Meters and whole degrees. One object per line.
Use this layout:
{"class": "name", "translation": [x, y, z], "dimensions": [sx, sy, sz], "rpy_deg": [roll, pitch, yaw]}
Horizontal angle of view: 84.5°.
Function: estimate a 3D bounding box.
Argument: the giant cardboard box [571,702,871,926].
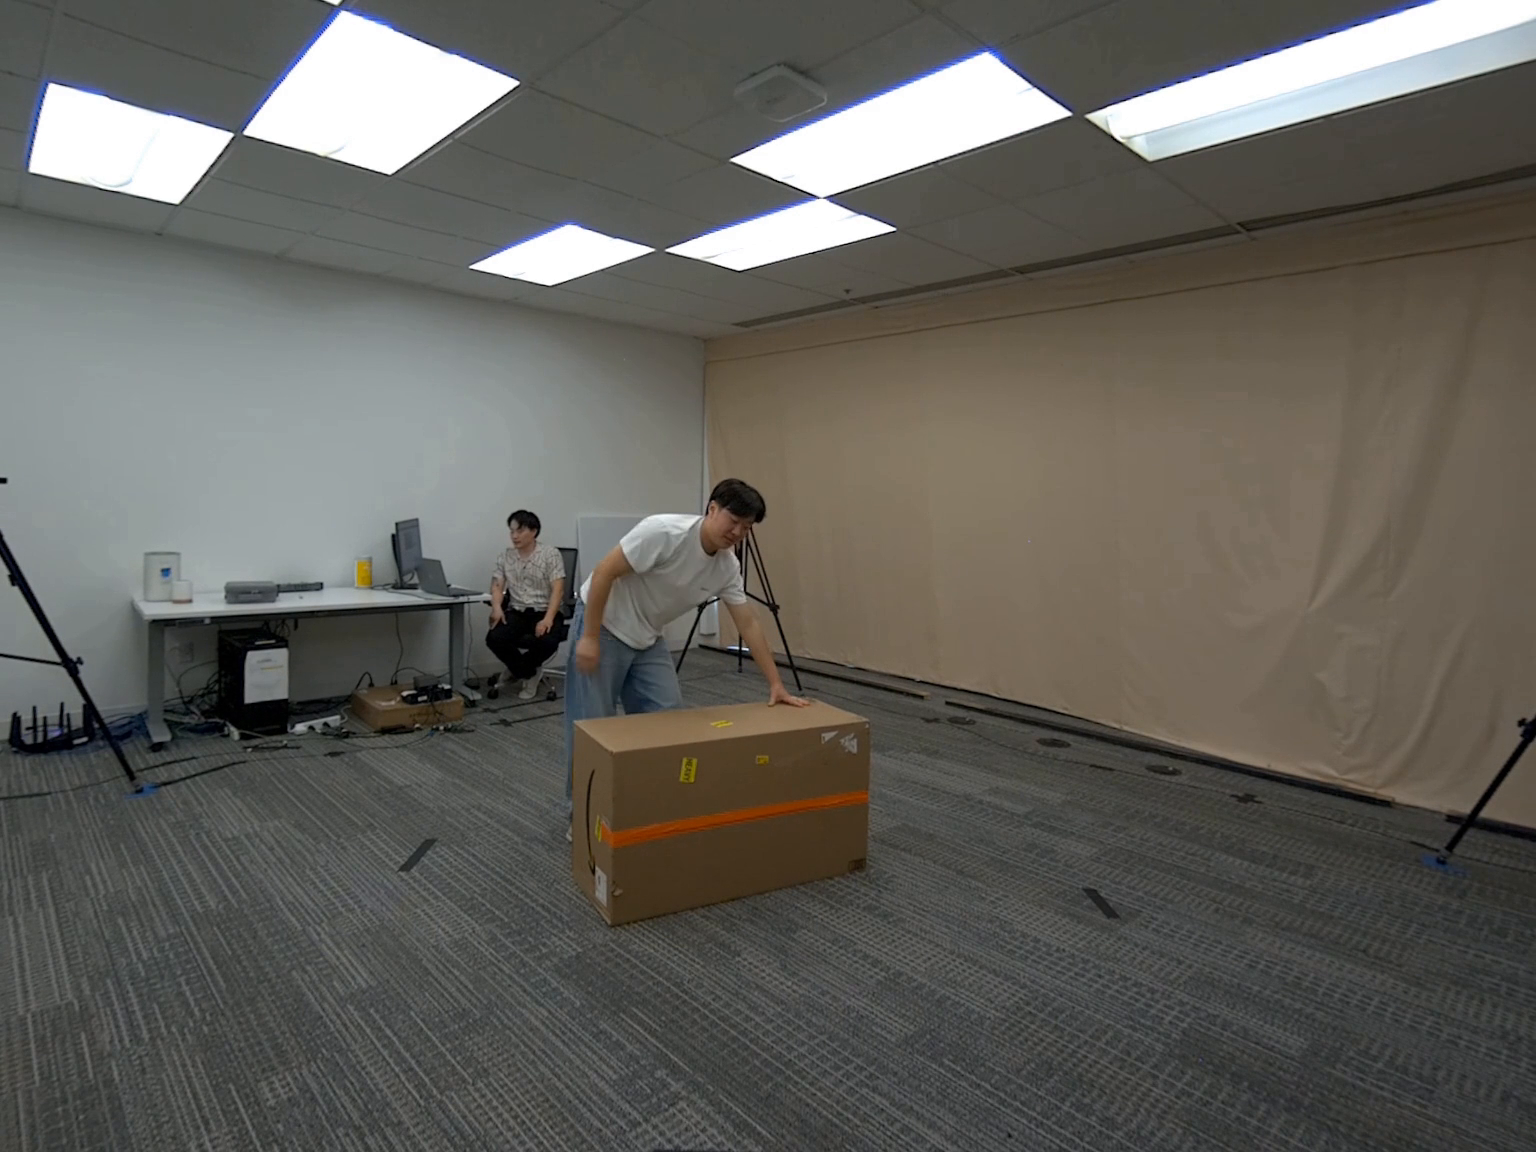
{"class": "giant cardboard box", "translation": [-0.170, 0.818, 3.106], "dimensions": [1.006, 0.576, 0.435], "rpy_deg": [-1, 4, -28]}
